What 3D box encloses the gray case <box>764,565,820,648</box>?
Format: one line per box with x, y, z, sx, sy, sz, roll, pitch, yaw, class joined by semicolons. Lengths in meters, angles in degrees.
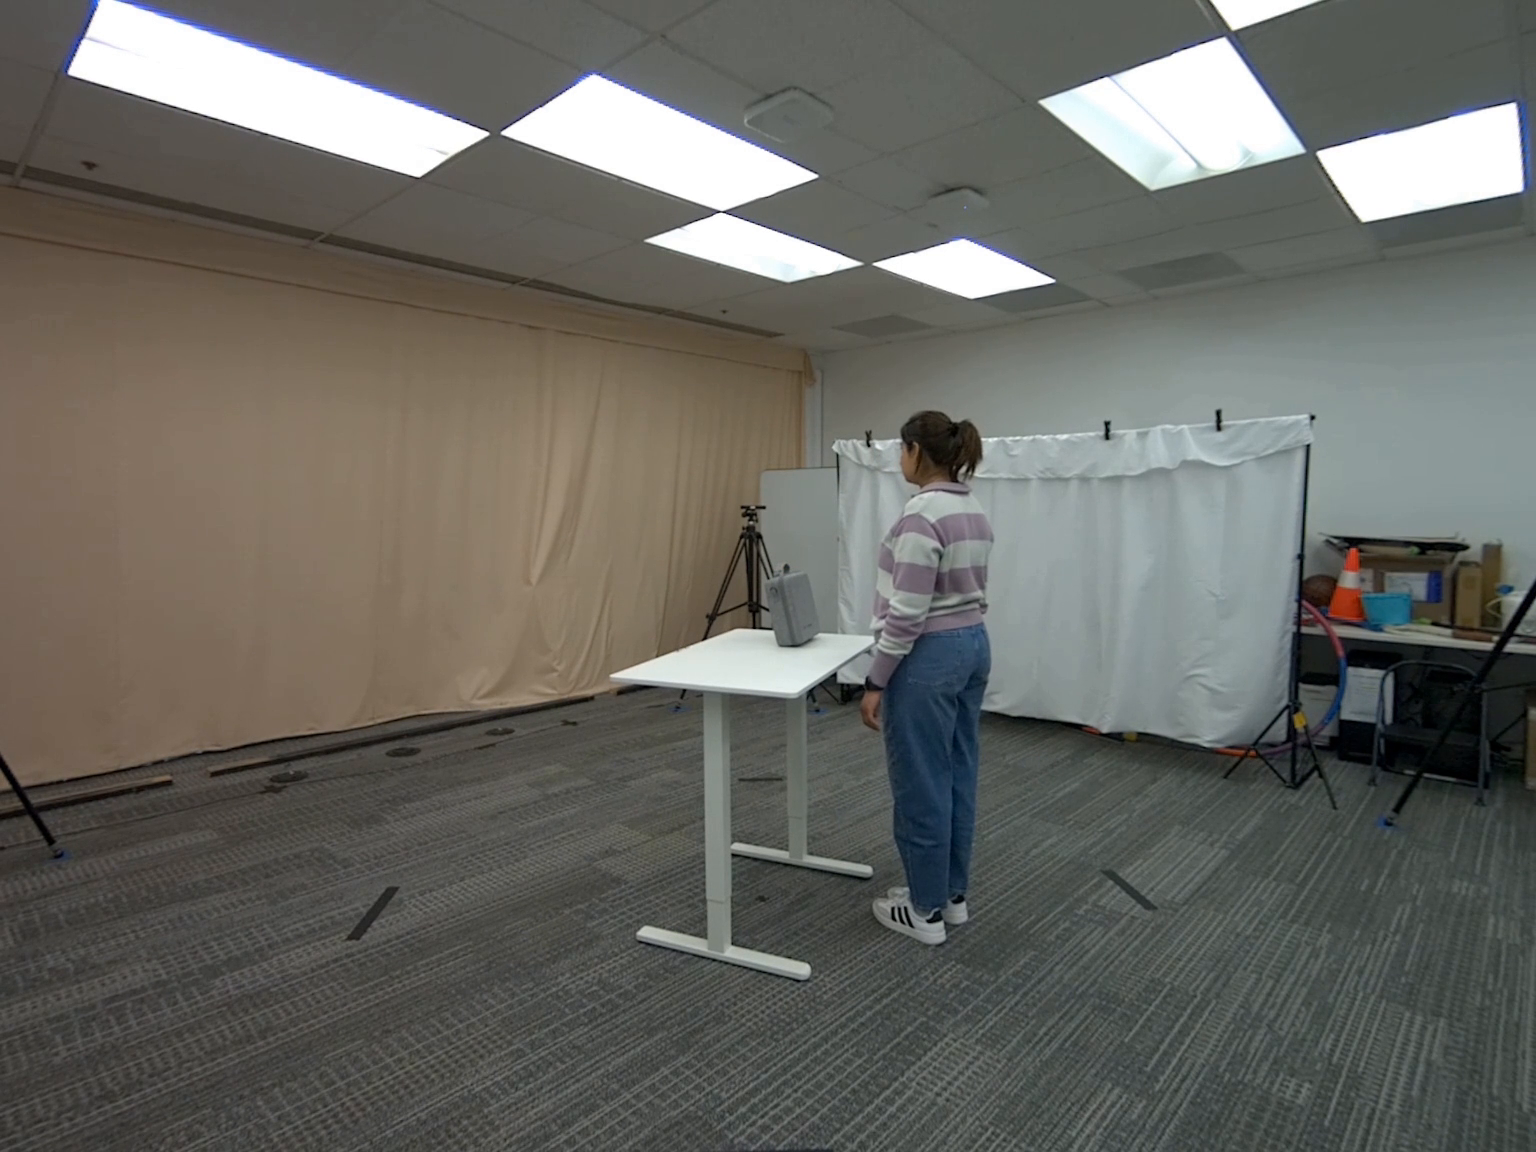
0.094;0.118;3.107;0.106;0.261;0.252;-12;-1;21;gray case
